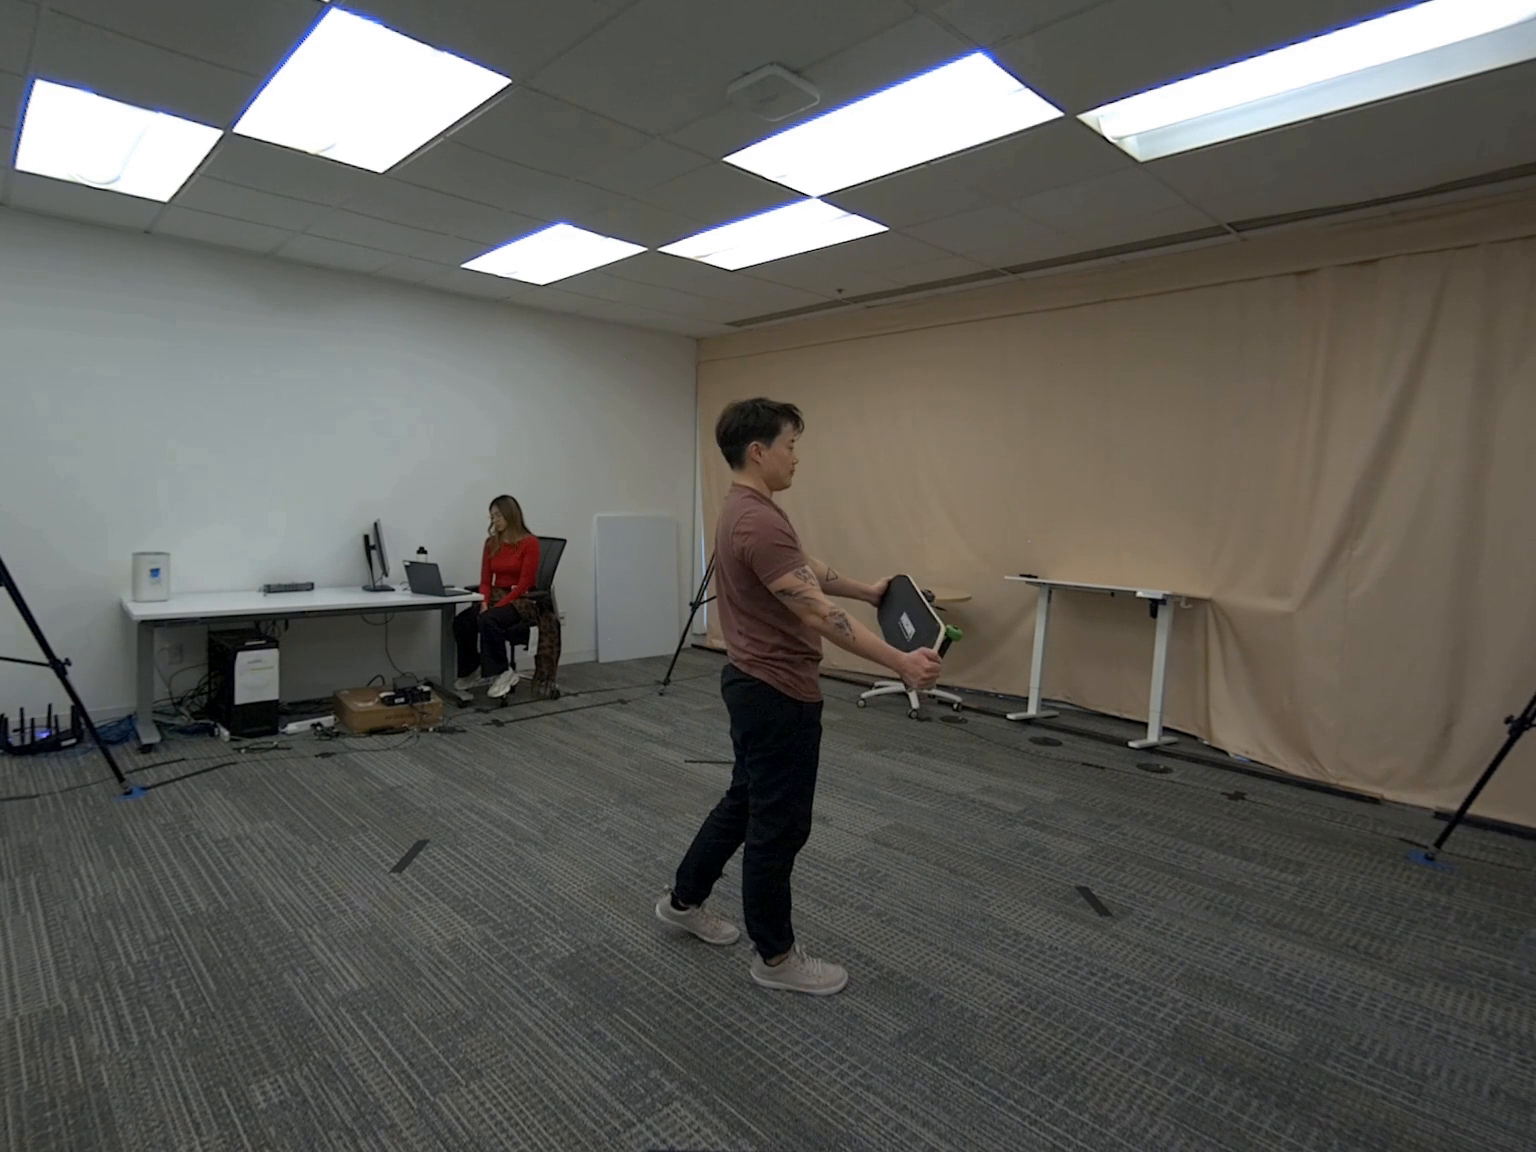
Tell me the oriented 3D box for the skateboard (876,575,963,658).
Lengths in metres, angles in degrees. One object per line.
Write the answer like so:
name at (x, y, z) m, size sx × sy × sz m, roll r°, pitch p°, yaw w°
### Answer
skateboard at (0.429, 0.160, 2.518) m, size 0.109 × 0.193 × 0.792 m, roll 32°, pitch 11°, yaw -8°
